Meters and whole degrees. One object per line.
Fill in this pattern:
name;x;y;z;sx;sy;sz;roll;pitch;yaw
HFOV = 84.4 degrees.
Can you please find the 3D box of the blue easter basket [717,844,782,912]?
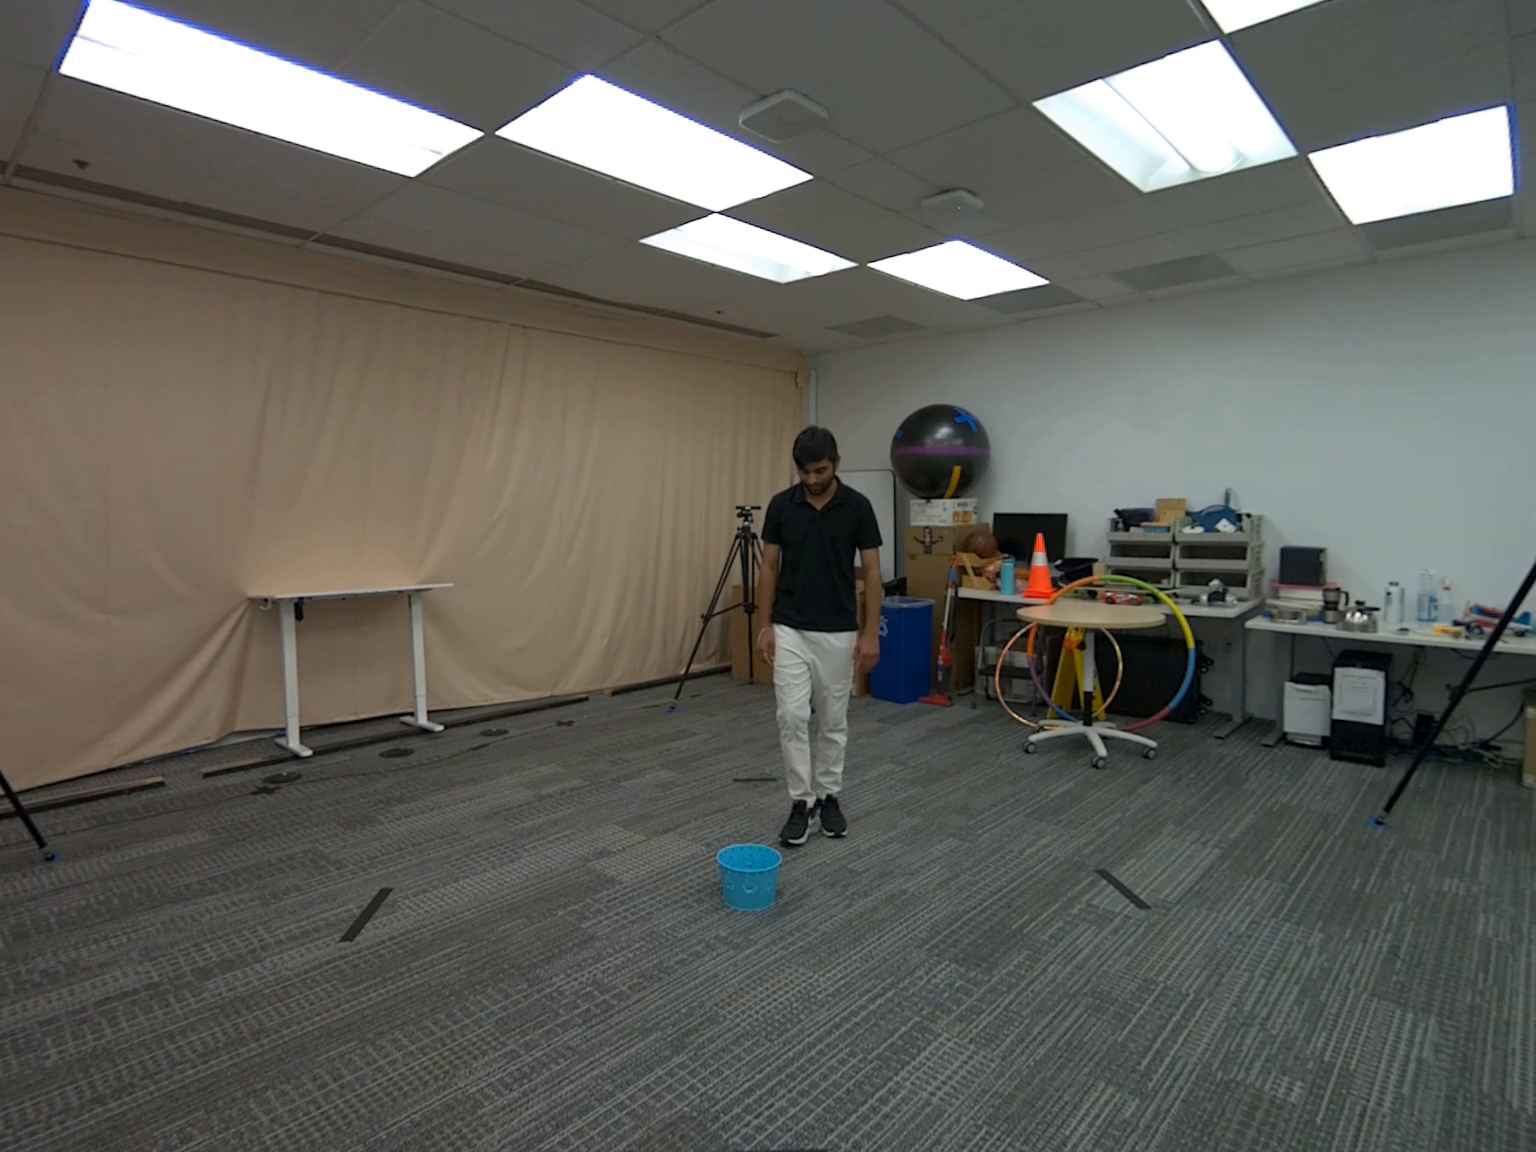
blue easter basket;-0.063;1.062;2.981;0.243;0.155;0.244;-1;5;-2
